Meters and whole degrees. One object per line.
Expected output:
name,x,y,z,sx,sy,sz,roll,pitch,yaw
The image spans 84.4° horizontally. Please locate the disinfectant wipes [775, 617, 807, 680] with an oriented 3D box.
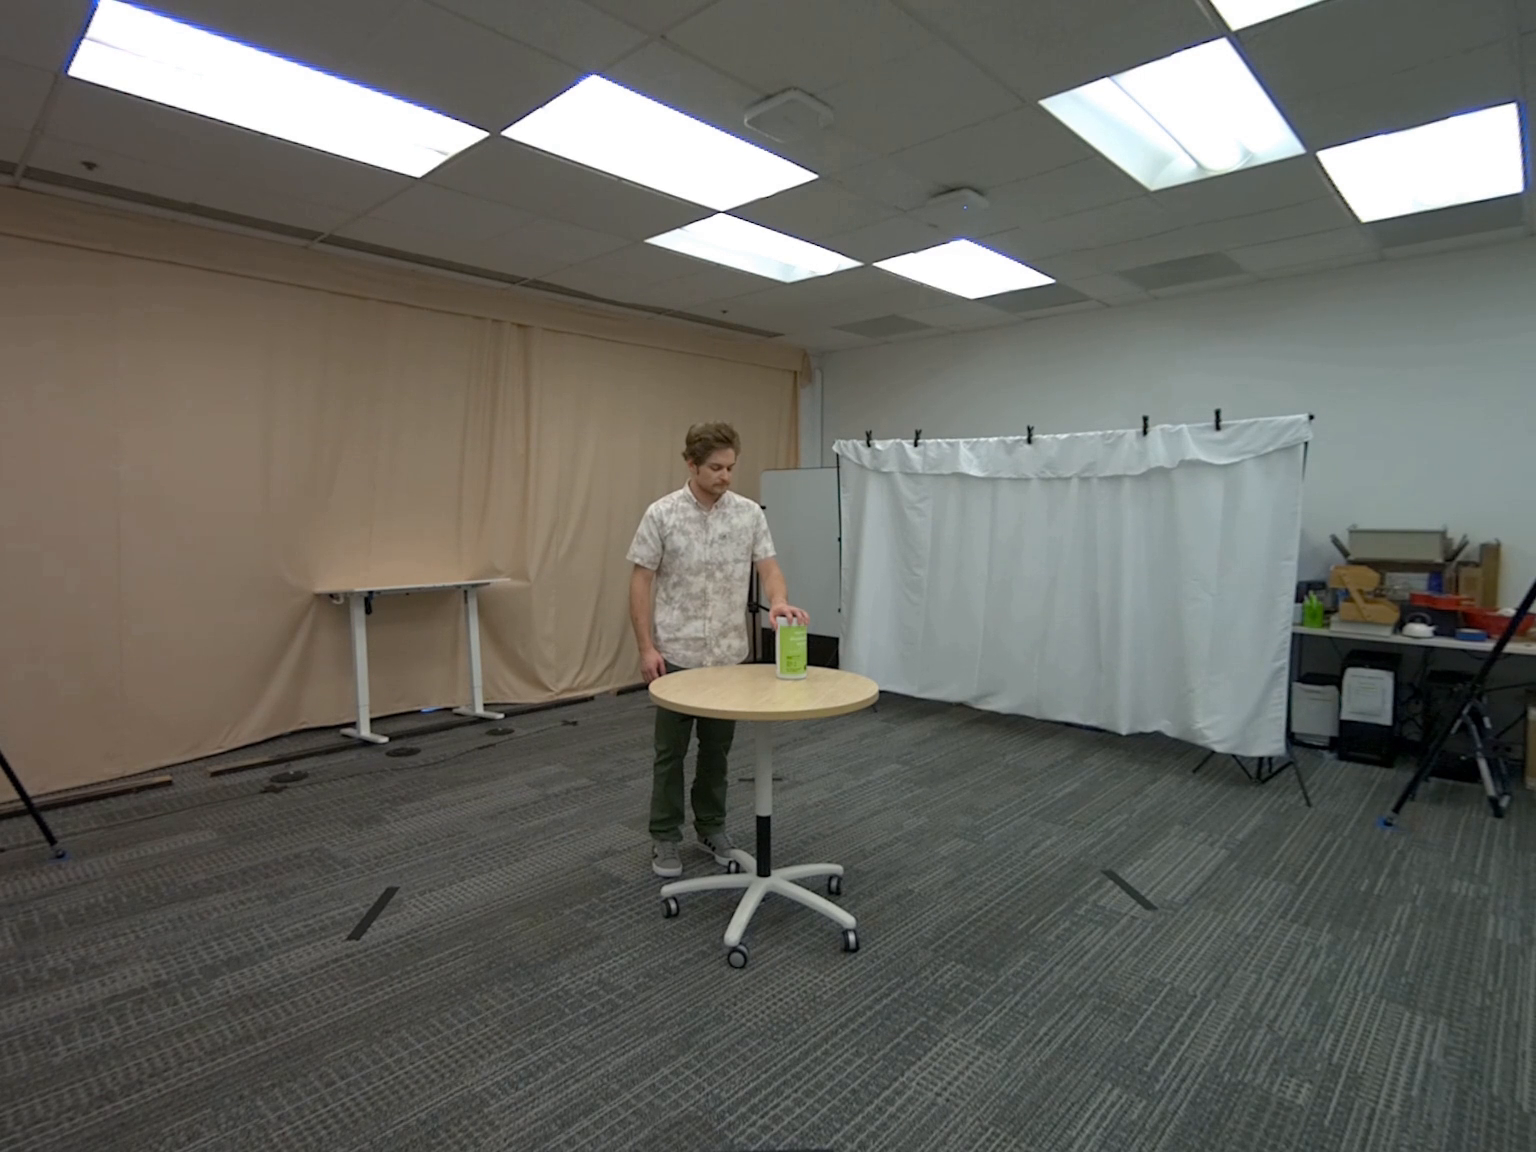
disinfectant wipes,0.084,0.250,2.948,0.117,0.217,0.118,2,3,-2
